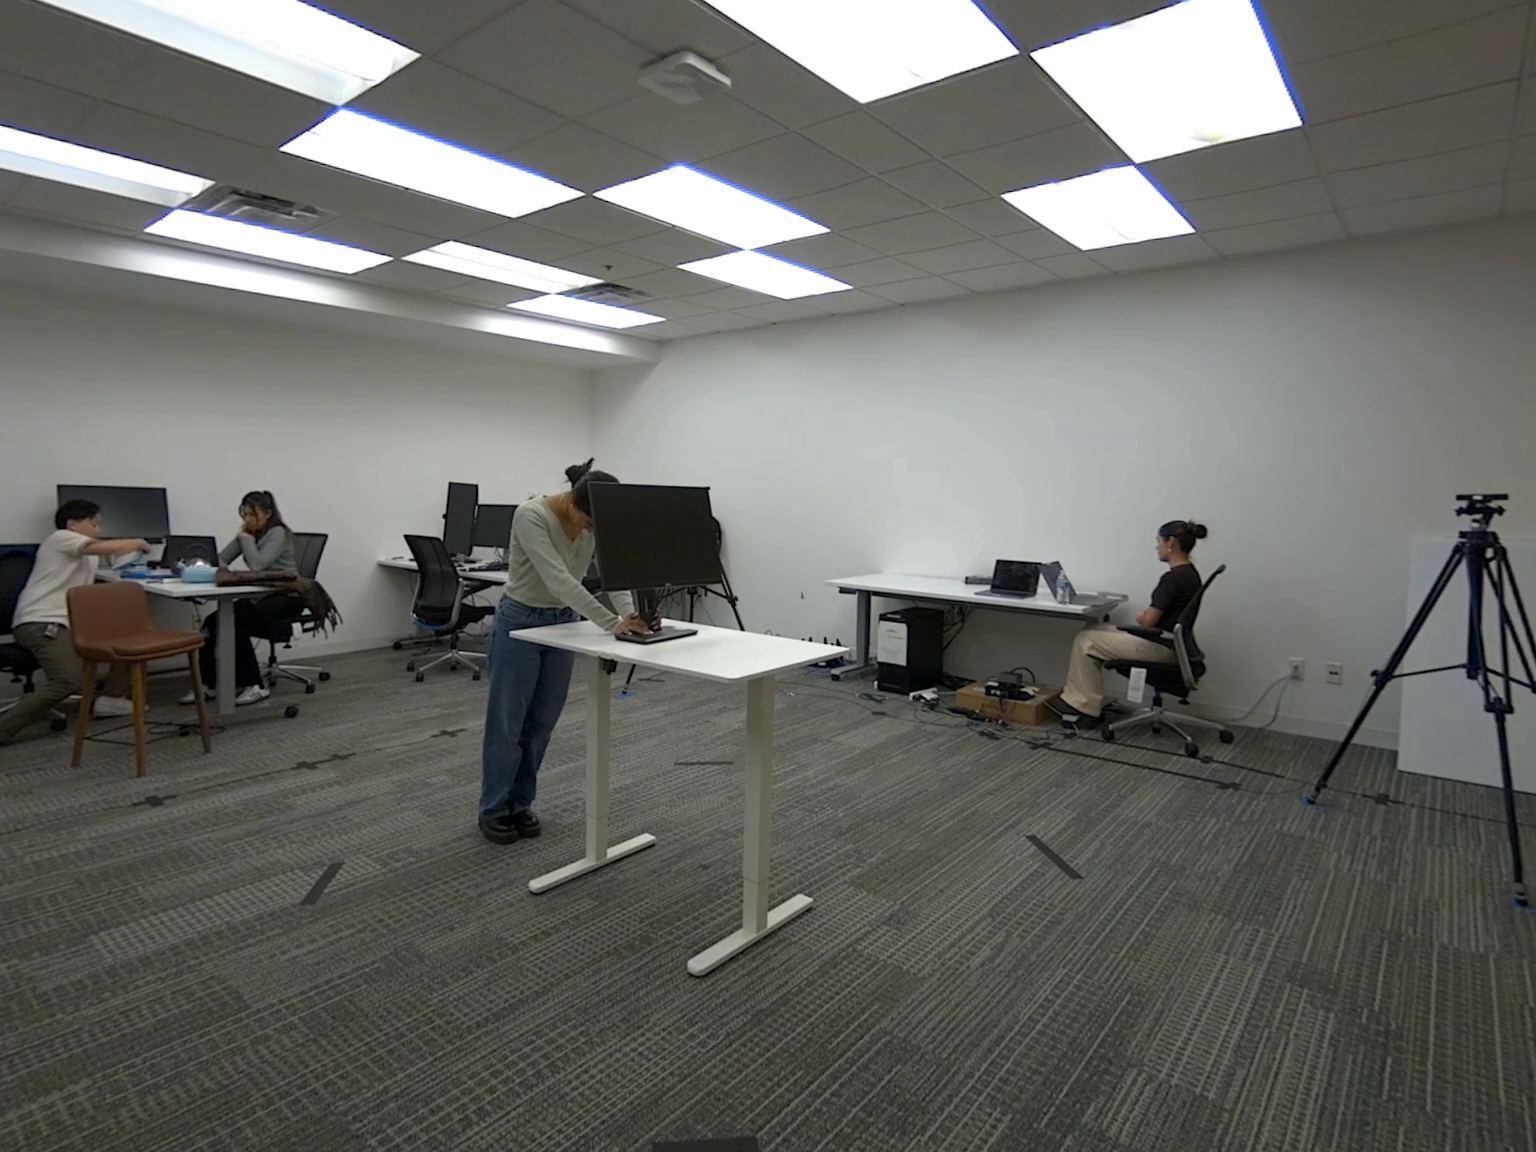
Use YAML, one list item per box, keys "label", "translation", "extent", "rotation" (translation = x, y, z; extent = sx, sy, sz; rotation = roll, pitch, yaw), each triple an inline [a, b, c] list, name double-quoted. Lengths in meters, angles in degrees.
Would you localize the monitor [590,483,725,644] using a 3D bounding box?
- label: "monitor"
  translation: [-0.395, -0.050, 2.876]
  extent: [0.193, 0.522, 0.523]
  rotation: [2, 3, 40]
